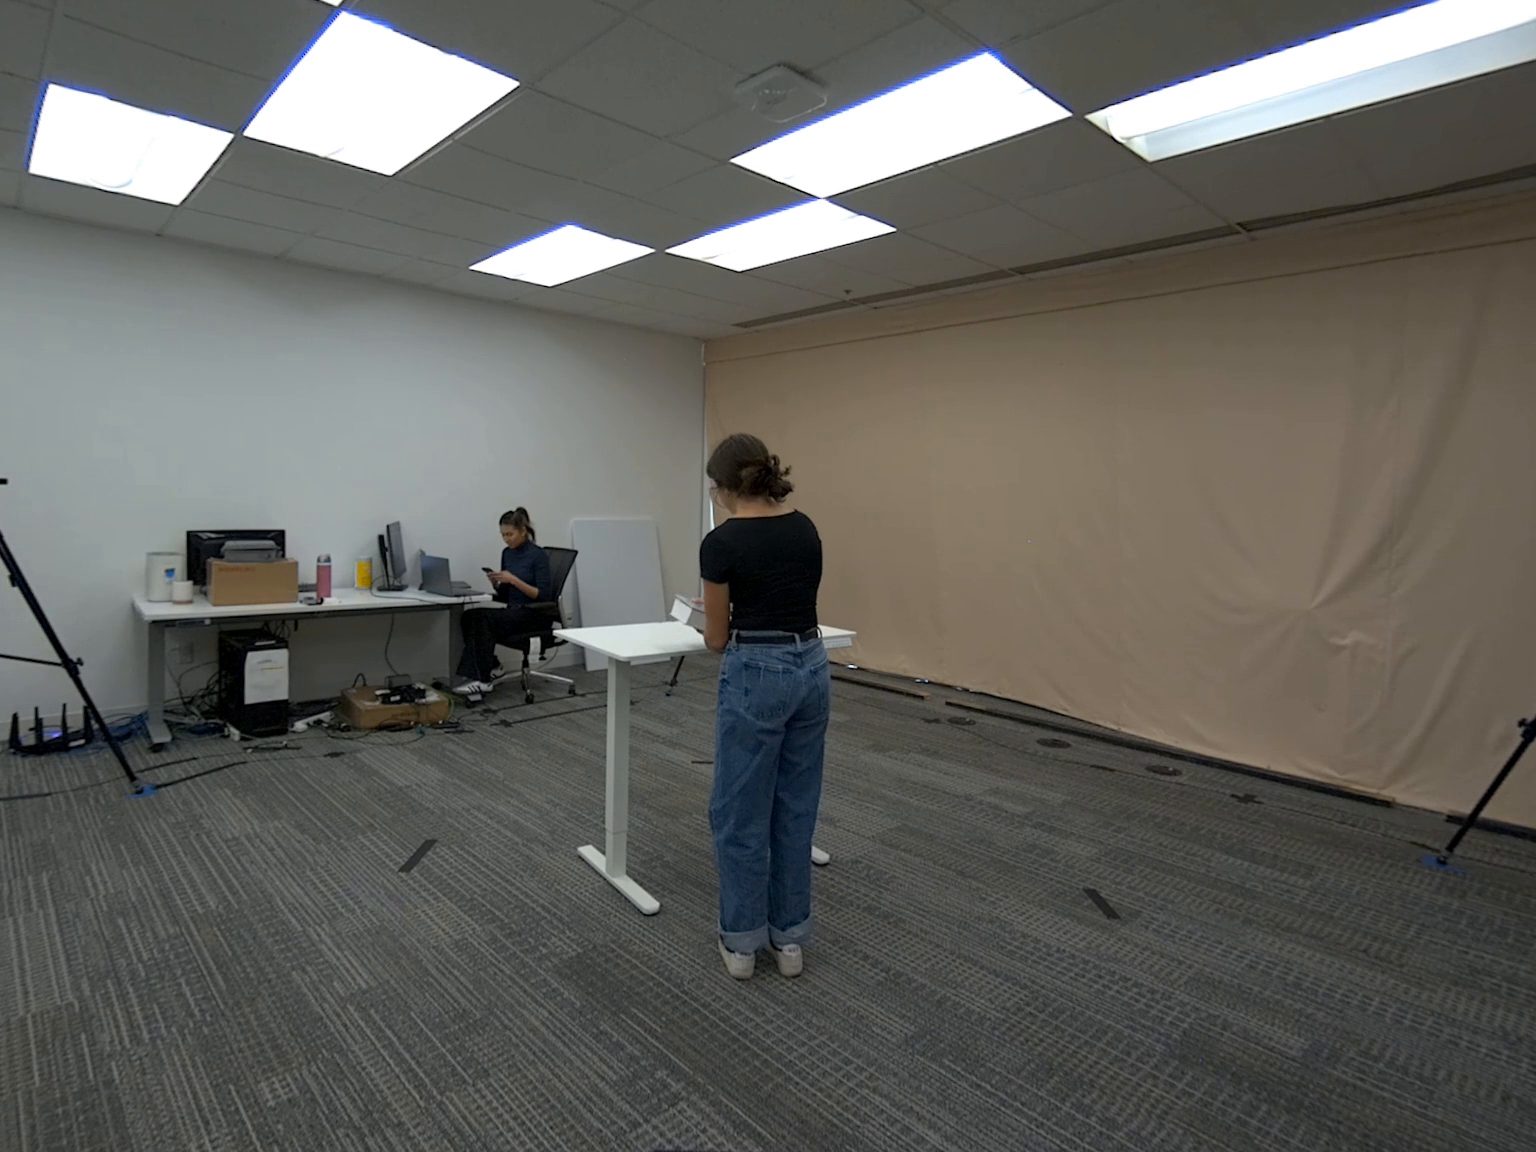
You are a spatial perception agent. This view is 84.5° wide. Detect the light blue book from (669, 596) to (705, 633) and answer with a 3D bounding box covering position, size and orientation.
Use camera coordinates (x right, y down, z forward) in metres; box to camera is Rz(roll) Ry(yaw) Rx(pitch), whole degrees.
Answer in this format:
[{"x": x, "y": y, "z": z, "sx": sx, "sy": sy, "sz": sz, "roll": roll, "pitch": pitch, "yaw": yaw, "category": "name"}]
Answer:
[{"x": -0.220, "y": 0.145, "z": 2.815, "sx": 0.189, "sy": 0.059, "sz": 0.265, "roll": 17, "pitch": 2, "yaw": -15, "category": "light blue book"}]
